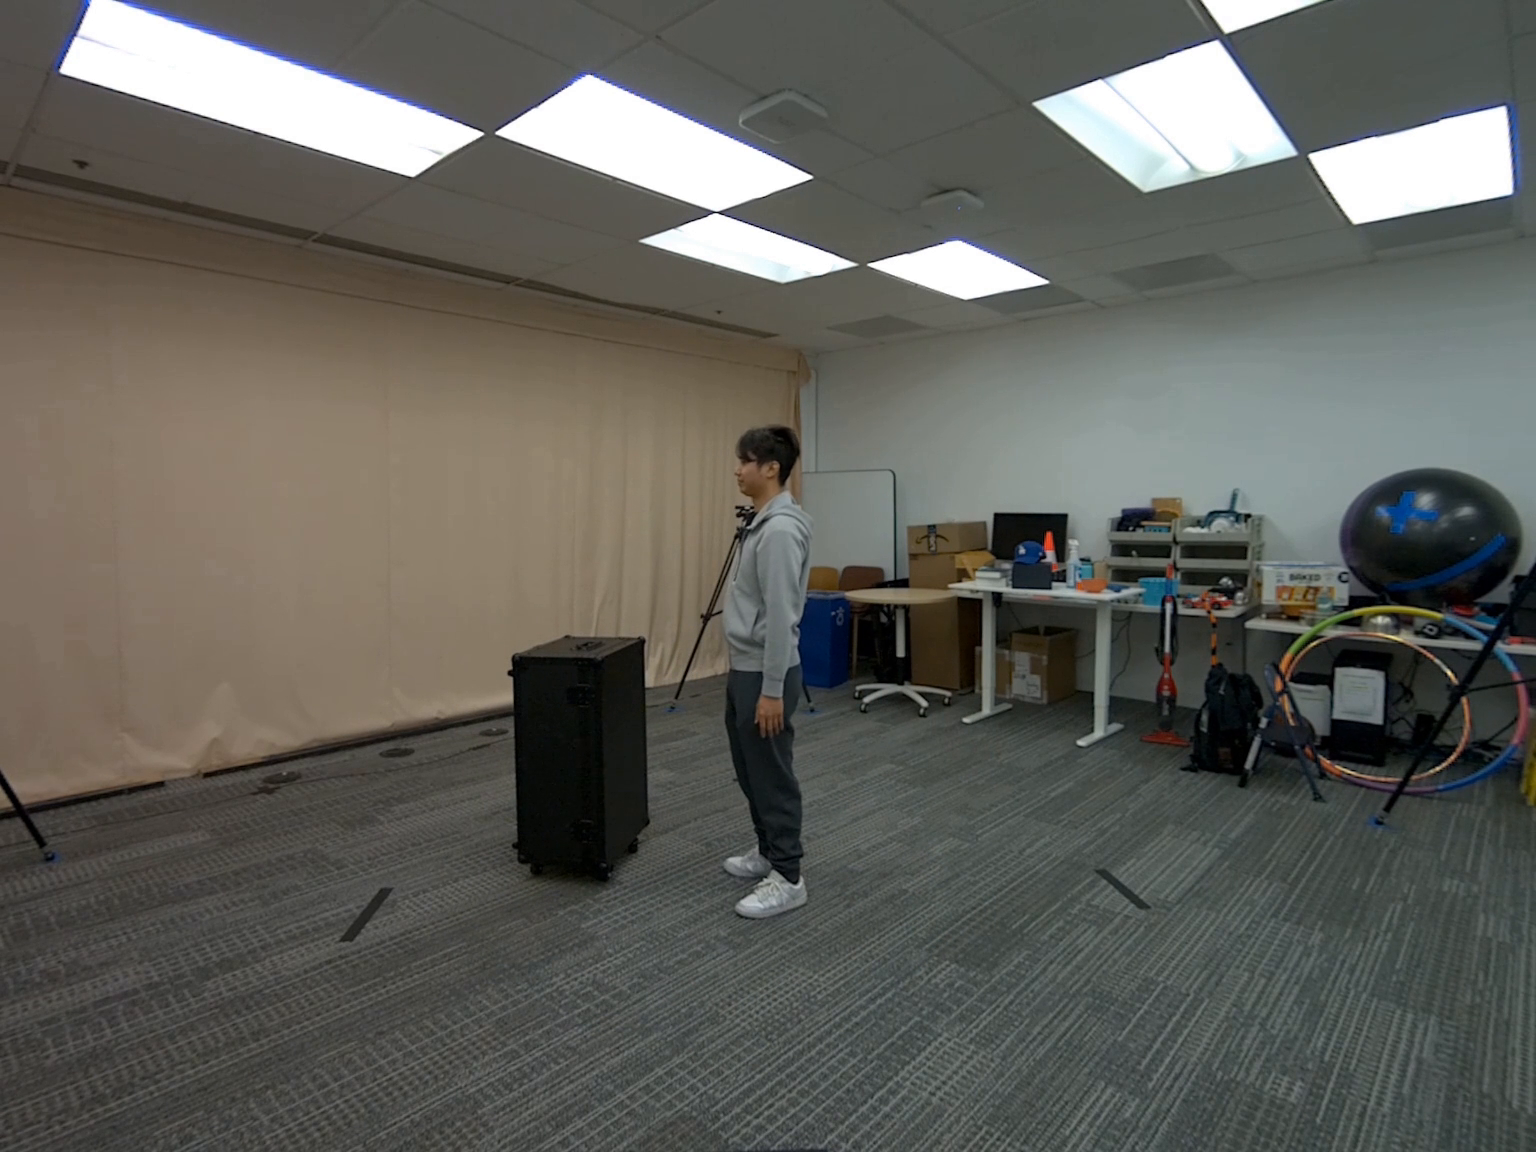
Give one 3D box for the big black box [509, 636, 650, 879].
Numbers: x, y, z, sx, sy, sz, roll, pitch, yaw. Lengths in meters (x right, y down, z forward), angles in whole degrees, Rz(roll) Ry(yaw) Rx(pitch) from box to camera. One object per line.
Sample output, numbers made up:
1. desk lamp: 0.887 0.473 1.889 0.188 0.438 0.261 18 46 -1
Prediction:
1. big black box: -0.739 0.701 3.320 0.402 0.860 0.514 0 2 14
